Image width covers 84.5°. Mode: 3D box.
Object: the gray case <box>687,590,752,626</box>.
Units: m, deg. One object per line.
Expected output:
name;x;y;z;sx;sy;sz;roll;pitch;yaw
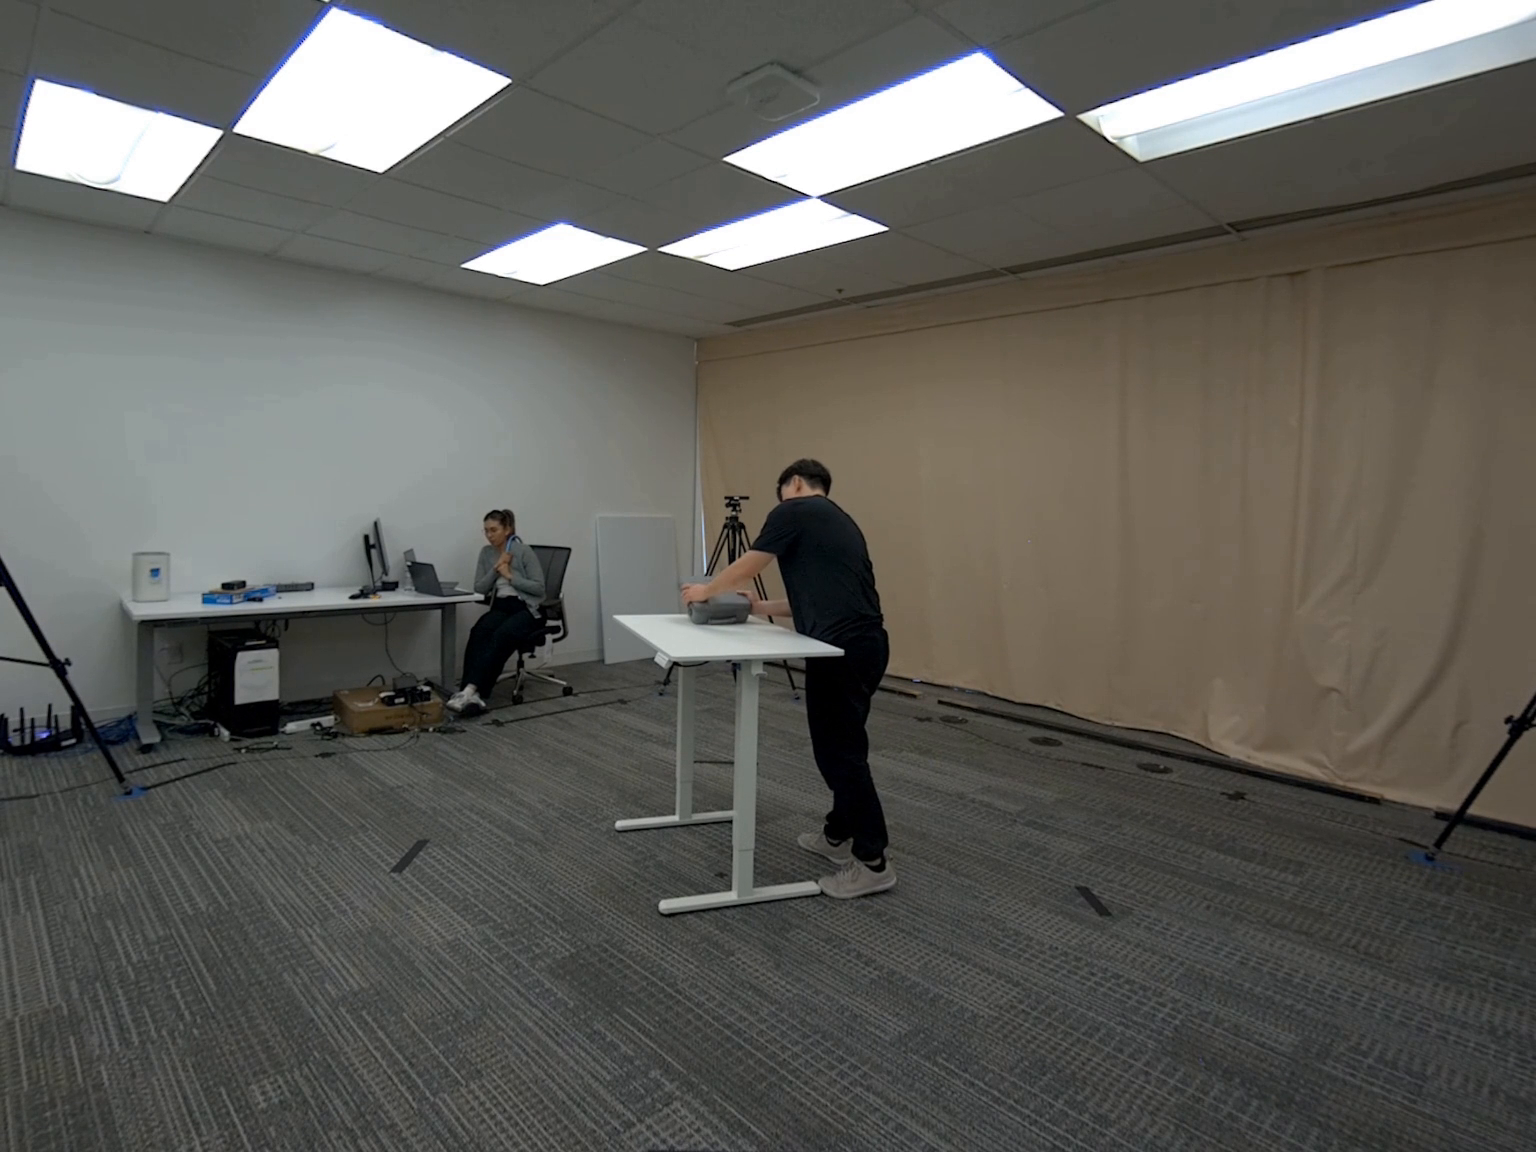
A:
gray case;-0.224;0.105;3.492;0.252;0.103;0.268;1;26;-23
